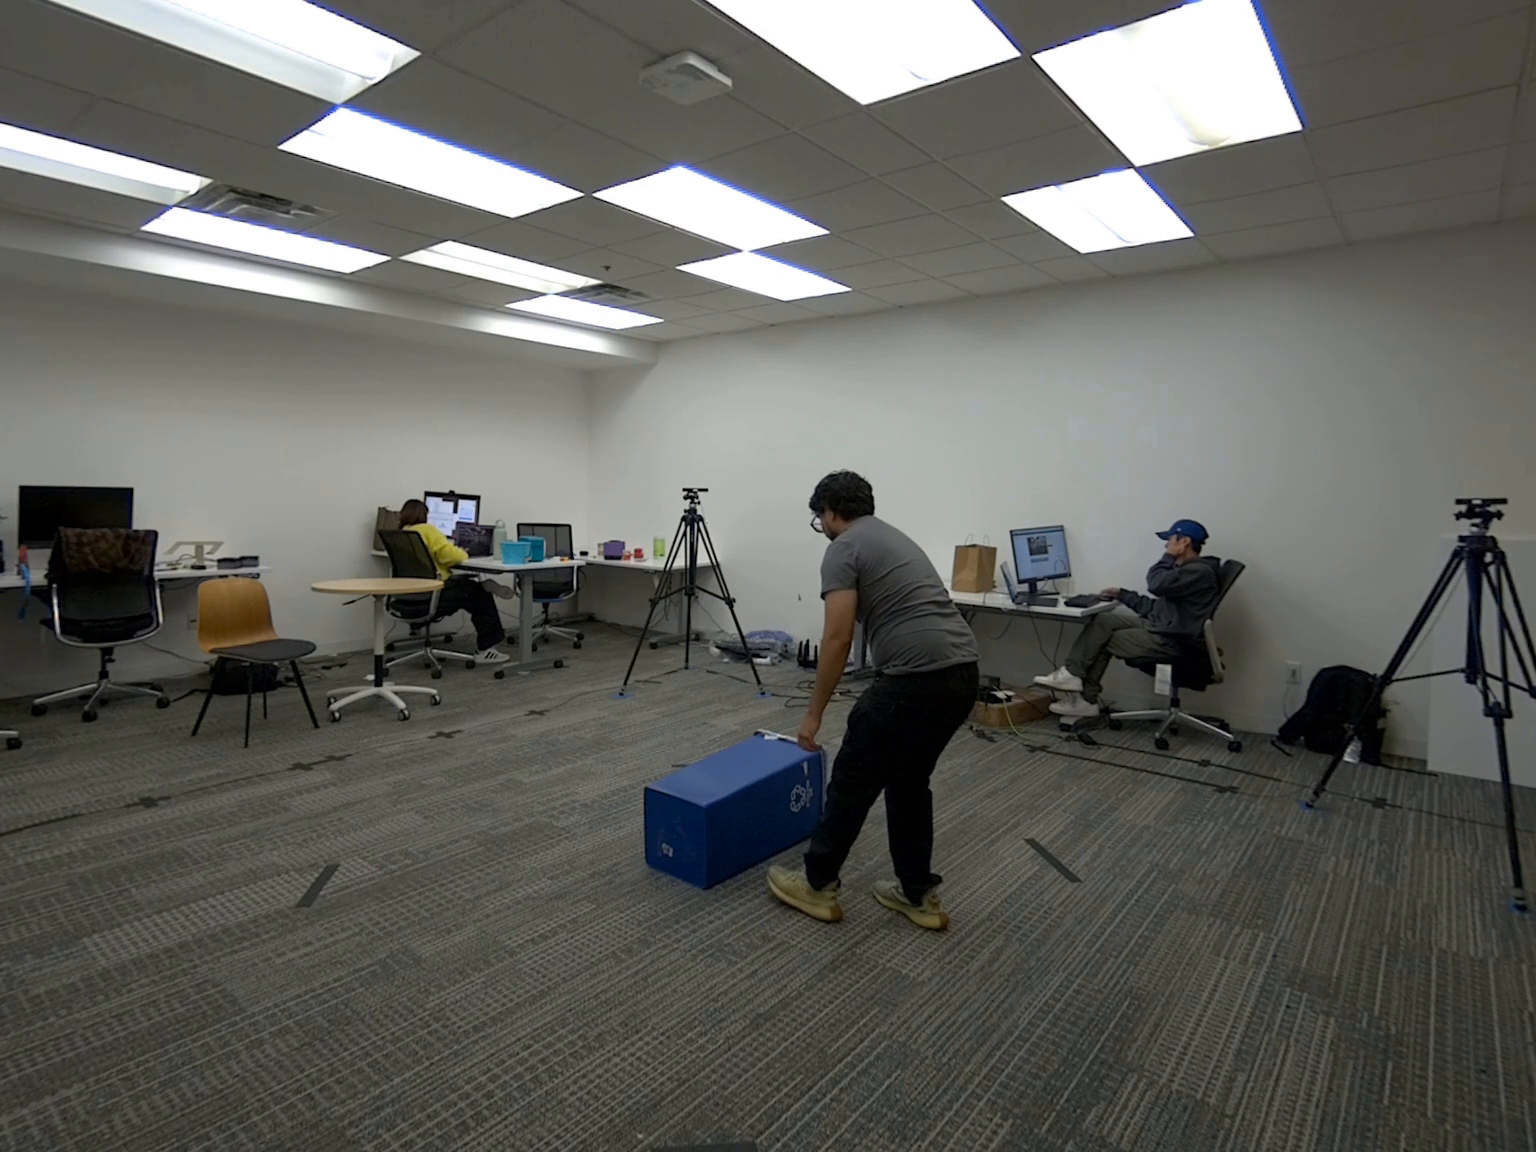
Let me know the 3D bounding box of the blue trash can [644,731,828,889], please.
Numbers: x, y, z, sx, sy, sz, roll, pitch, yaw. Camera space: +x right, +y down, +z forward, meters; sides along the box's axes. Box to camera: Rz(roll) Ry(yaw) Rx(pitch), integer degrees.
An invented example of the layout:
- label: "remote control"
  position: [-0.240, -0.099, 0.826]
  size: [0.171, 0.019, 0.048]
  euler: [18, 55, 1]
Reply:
- label: "blue trash can"
  position: [-0.138, 0.881, 3.295]
  size: [0.387, 0.376, 0.693]
  euler: [6, 8, 39]
